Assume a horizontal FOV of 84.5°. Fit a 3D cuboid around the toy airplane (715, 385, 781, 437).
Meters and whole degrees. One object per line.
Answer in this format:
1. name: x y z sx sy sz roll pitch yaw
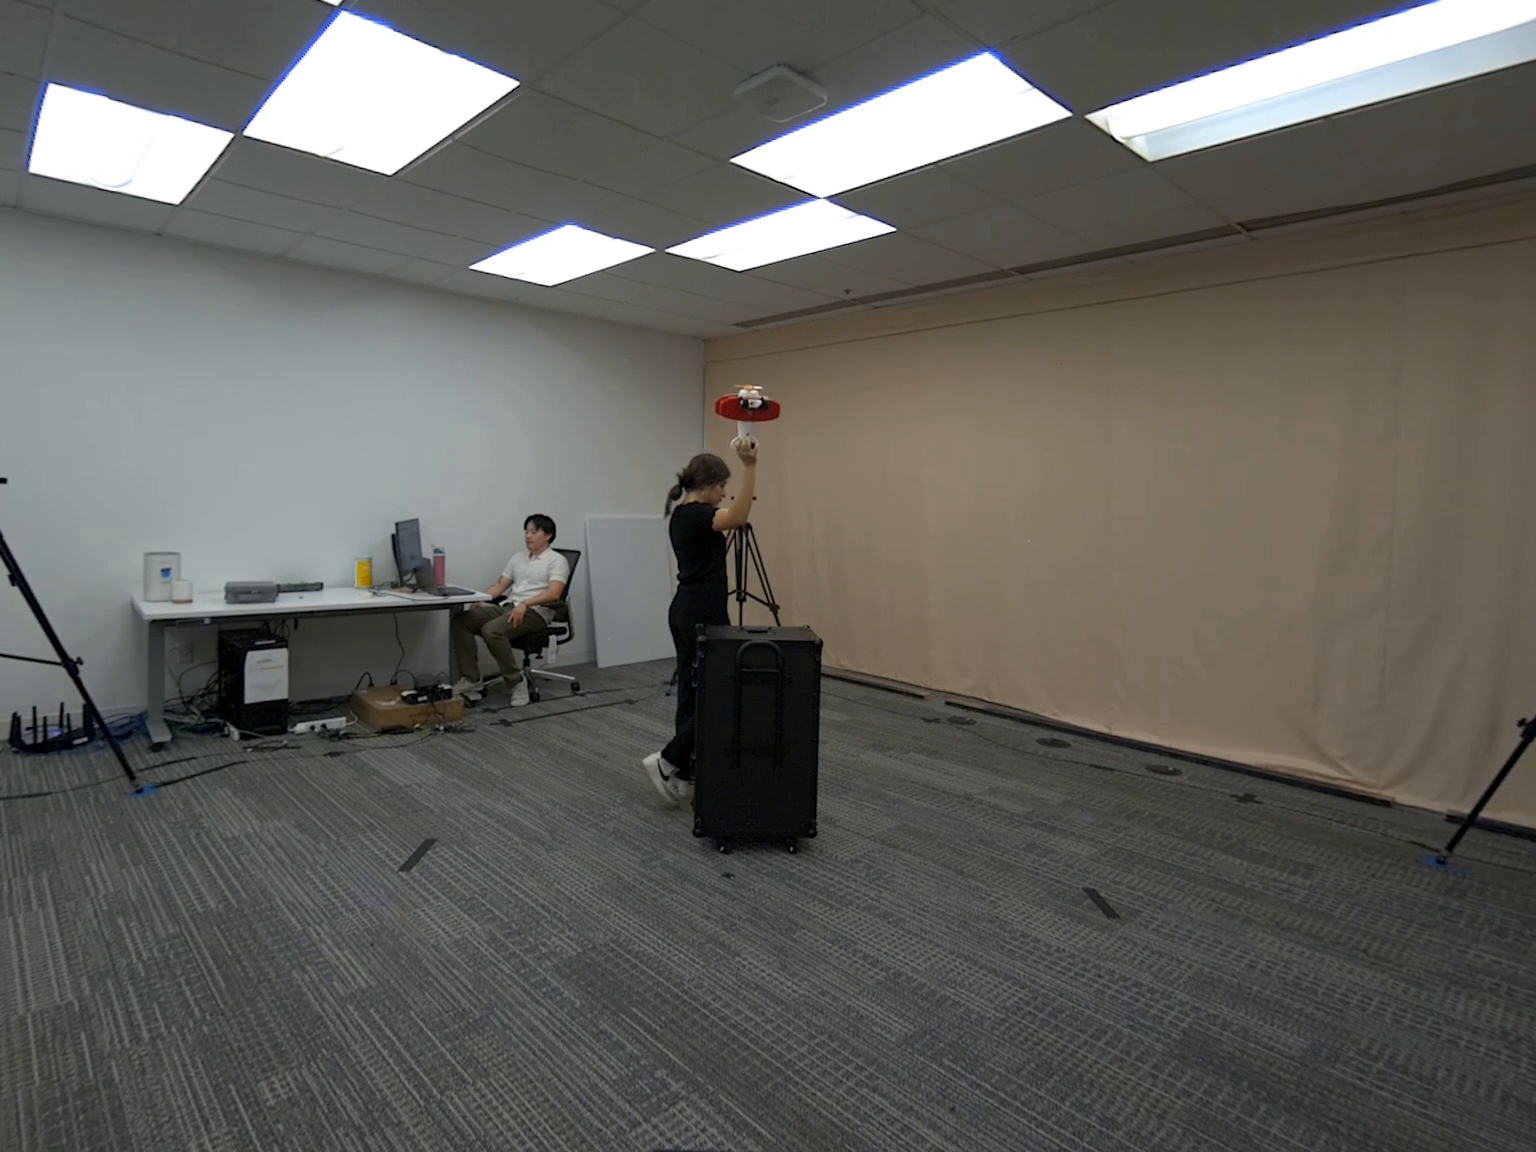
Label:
1. toy airplane: -0.105 -0.641 3.411 0.245 0.258 0.161 26 21 -29
